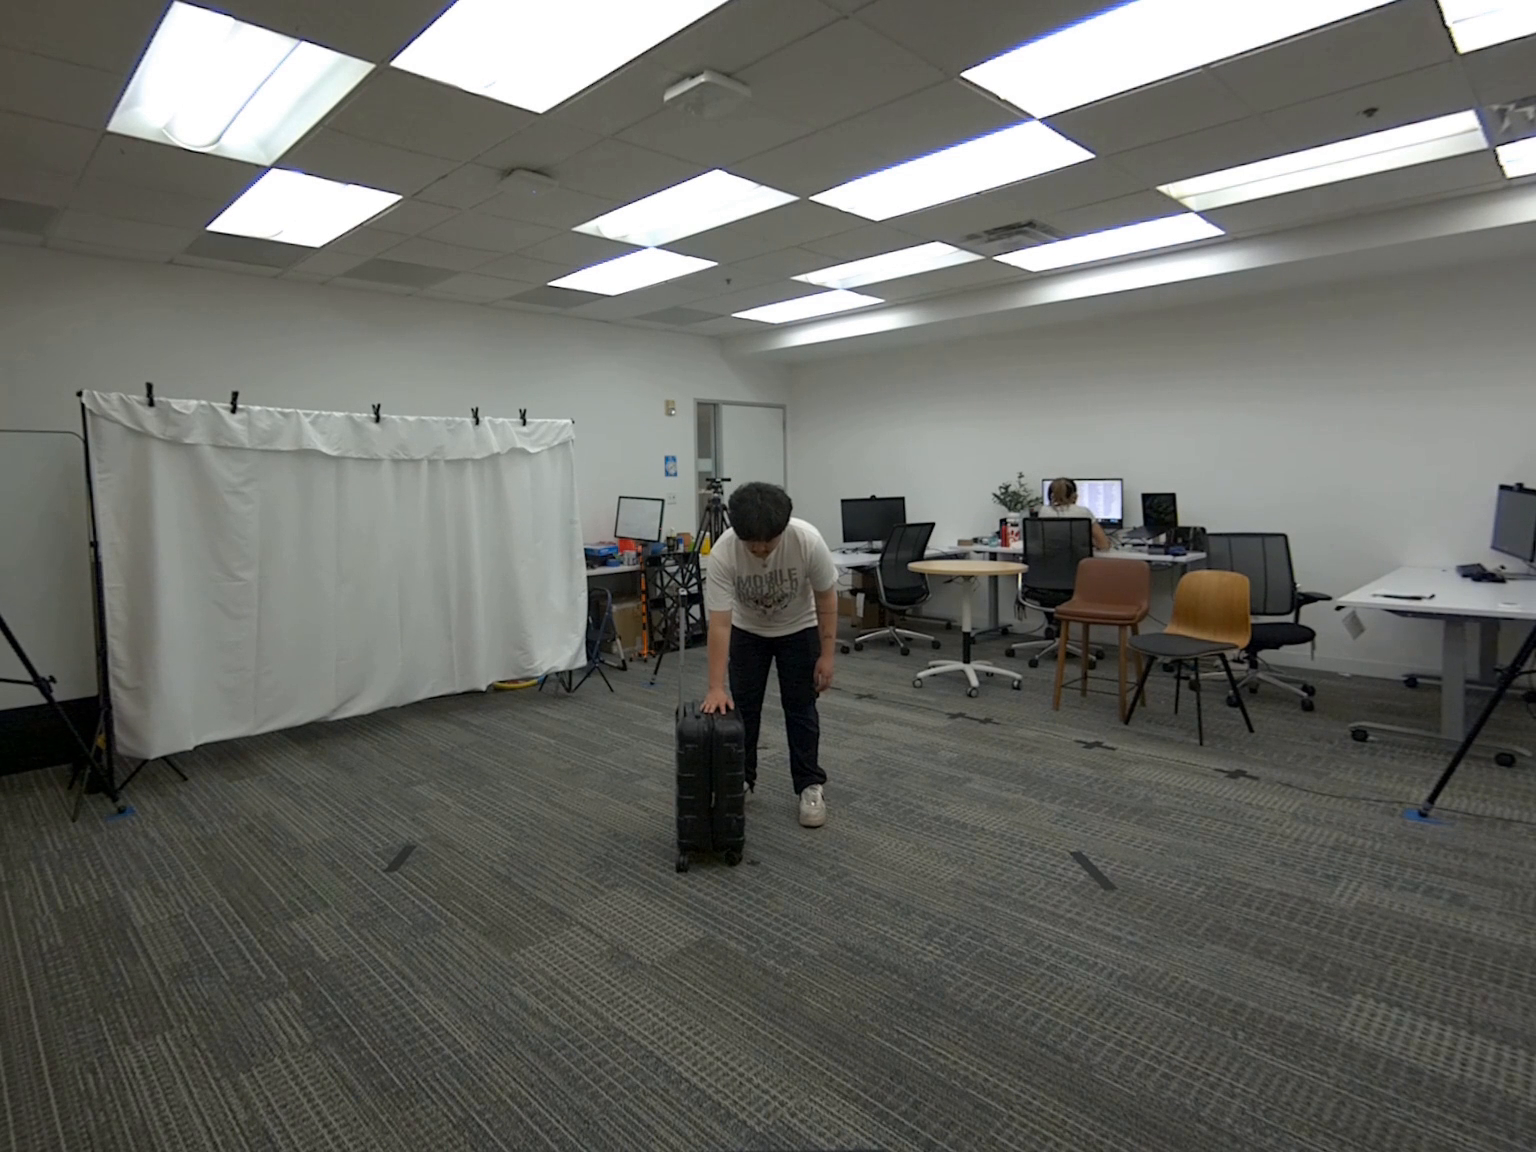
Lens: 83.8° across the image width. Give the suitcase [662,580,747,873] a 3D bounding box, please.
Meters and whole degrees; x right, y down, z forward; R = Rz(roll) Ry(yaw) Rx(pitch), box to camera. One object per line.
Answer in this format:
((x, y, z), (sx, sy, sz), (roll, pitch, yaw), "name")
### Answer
((-0.220, 0.560, 3.202), (0.256, 0.976, 0.387), (2, 4, -5), "suitcase")
